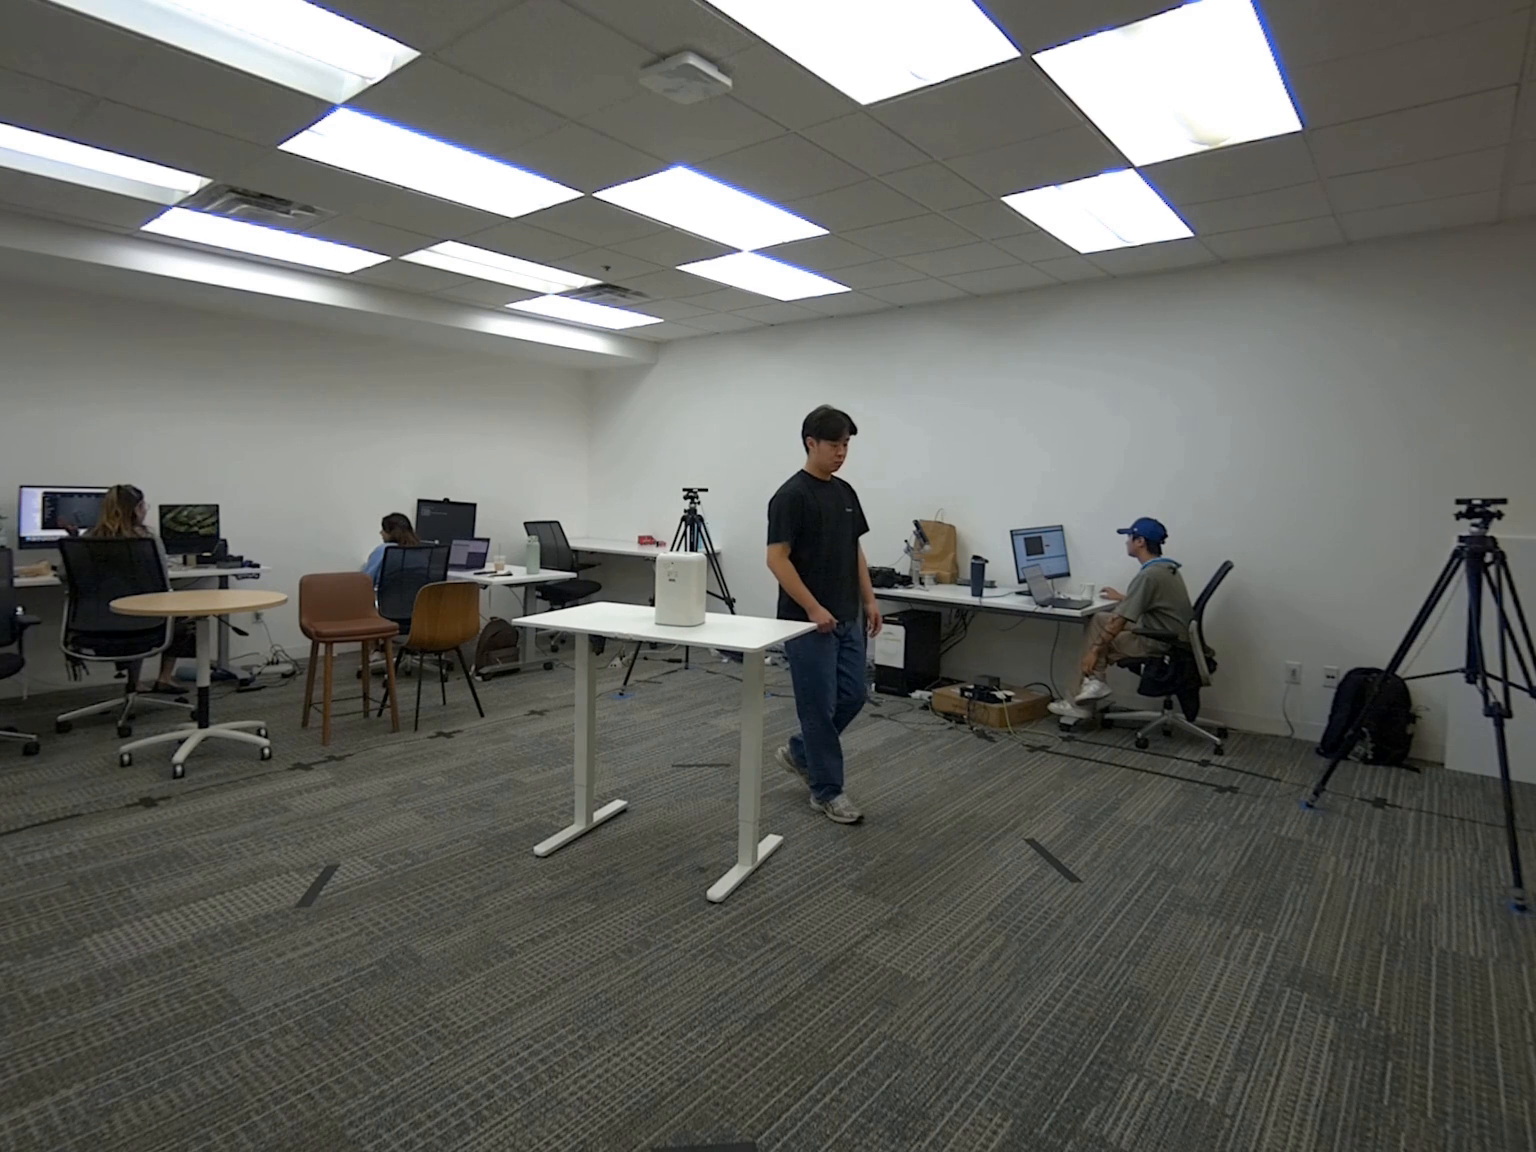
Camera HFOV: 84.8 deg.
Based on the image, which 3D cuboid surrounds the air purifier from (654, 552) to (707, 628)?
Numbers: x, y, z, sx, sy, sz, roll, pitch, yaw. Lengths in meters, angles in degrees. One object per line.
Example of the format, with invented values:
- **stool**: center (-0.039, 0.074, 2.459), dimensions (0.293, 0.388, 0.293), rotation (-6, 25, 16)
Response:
- **air purifier**: center (-0.335, 0.044, 3.203), dimensions (0.175, 0.264, 0.169), rotation (3, 5, 19)
